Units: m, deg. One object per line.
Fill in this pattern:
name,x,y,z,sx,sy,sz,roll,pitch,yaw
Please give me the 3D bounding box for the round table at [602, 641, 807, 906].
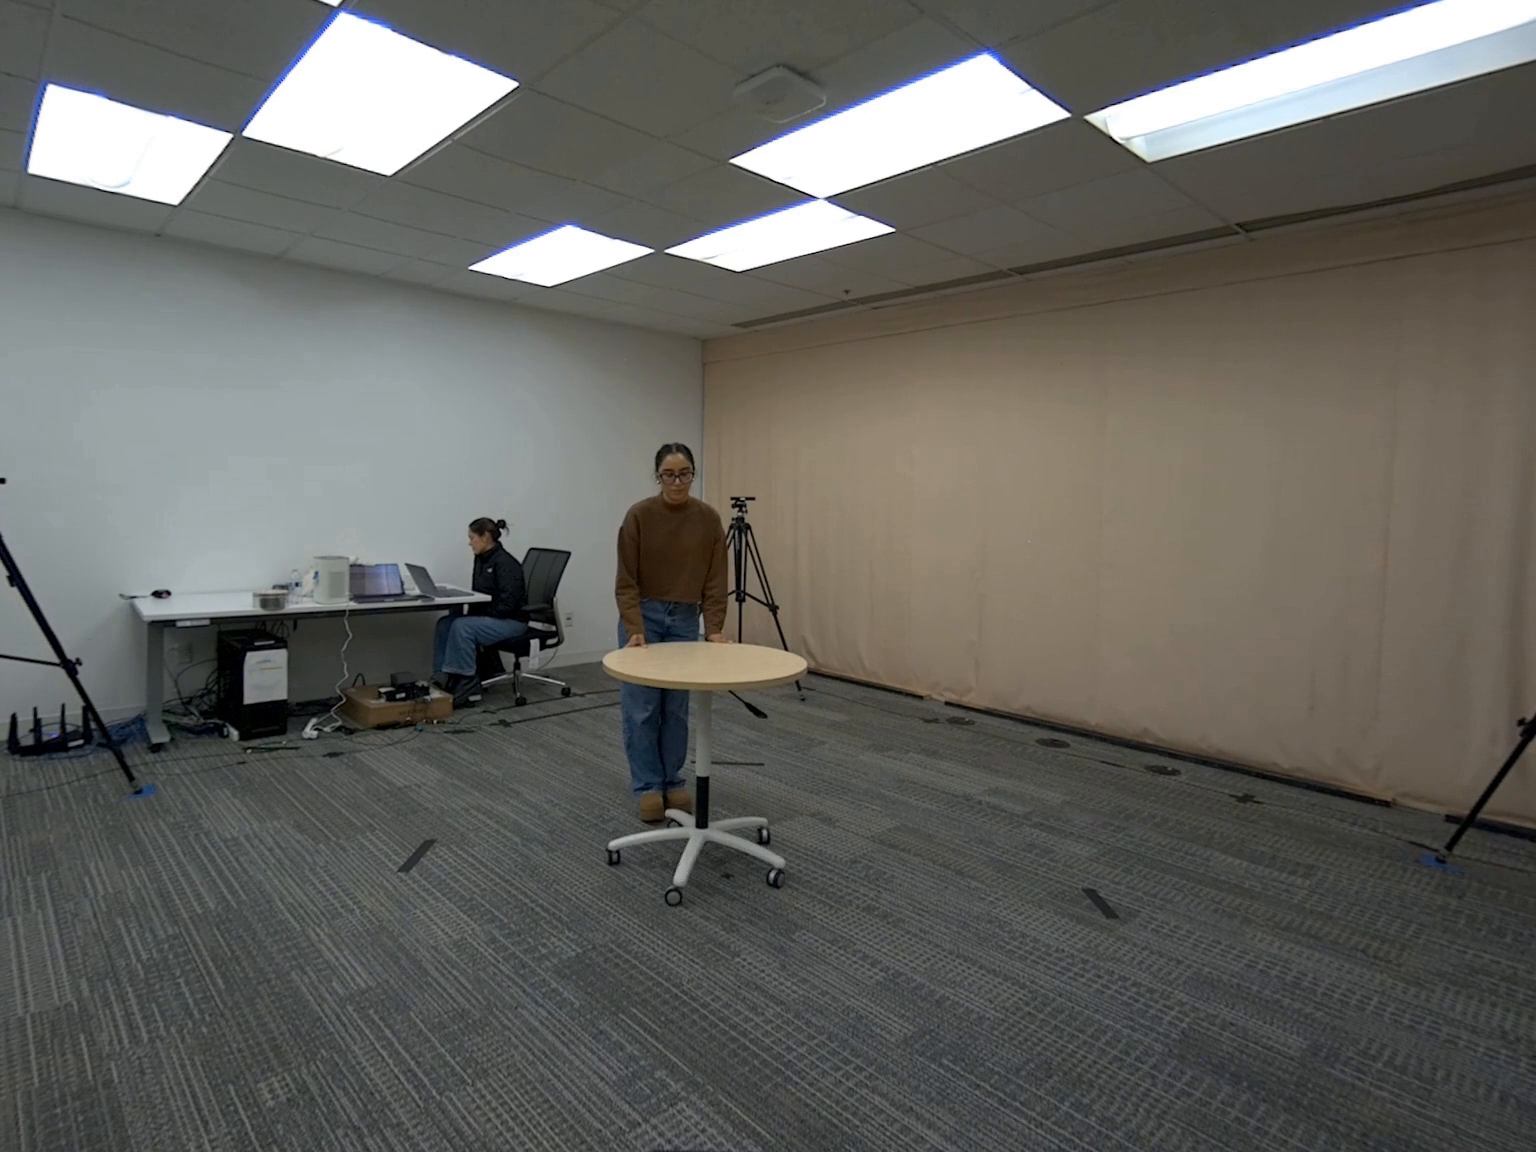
round table,-0.240,0.706,3.168,0.784,0.784,0.788,1,4,-1
